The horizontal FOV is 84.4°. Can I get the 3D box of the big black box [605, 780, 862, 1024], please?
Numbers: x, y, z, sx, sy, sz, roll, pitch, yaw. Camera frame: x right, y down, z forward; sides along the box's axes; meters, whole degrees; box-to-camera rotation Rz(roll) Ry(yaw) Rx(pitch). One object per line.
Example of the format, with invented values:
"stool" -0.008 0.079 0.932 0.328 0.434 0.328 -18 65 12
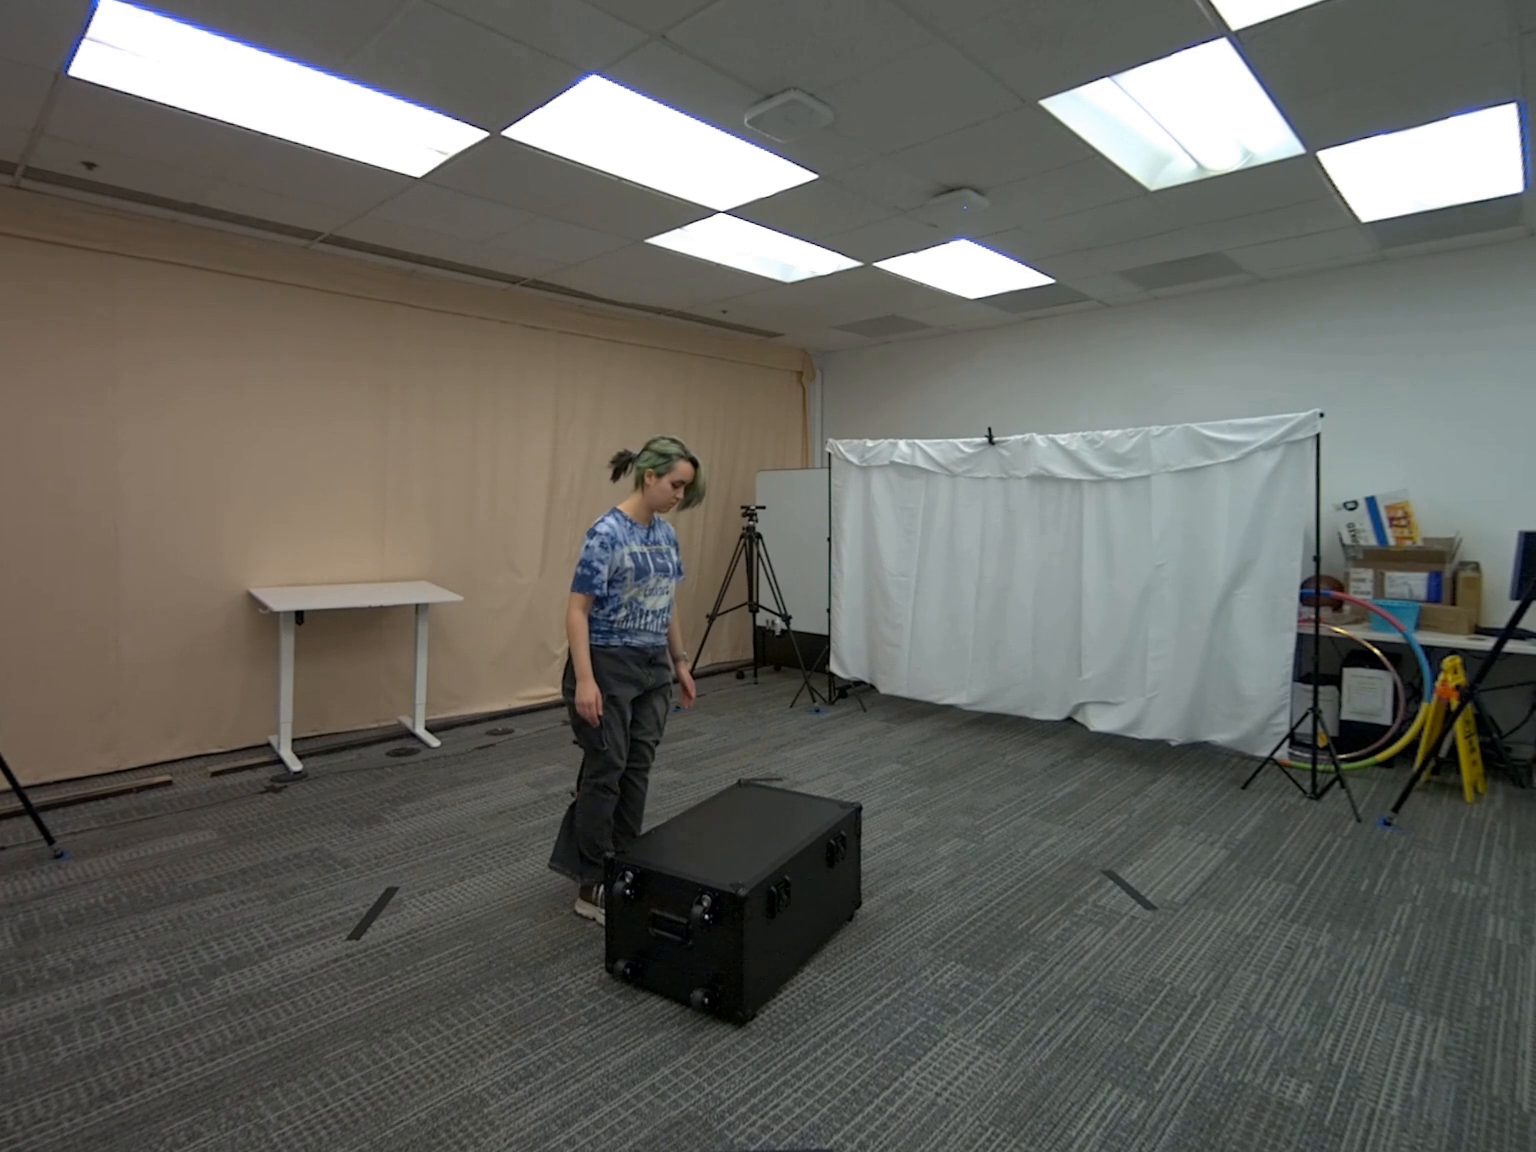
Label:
"big black box" -0.095 0.983 2.638 0.537 0.395 0.838 2 4 31
